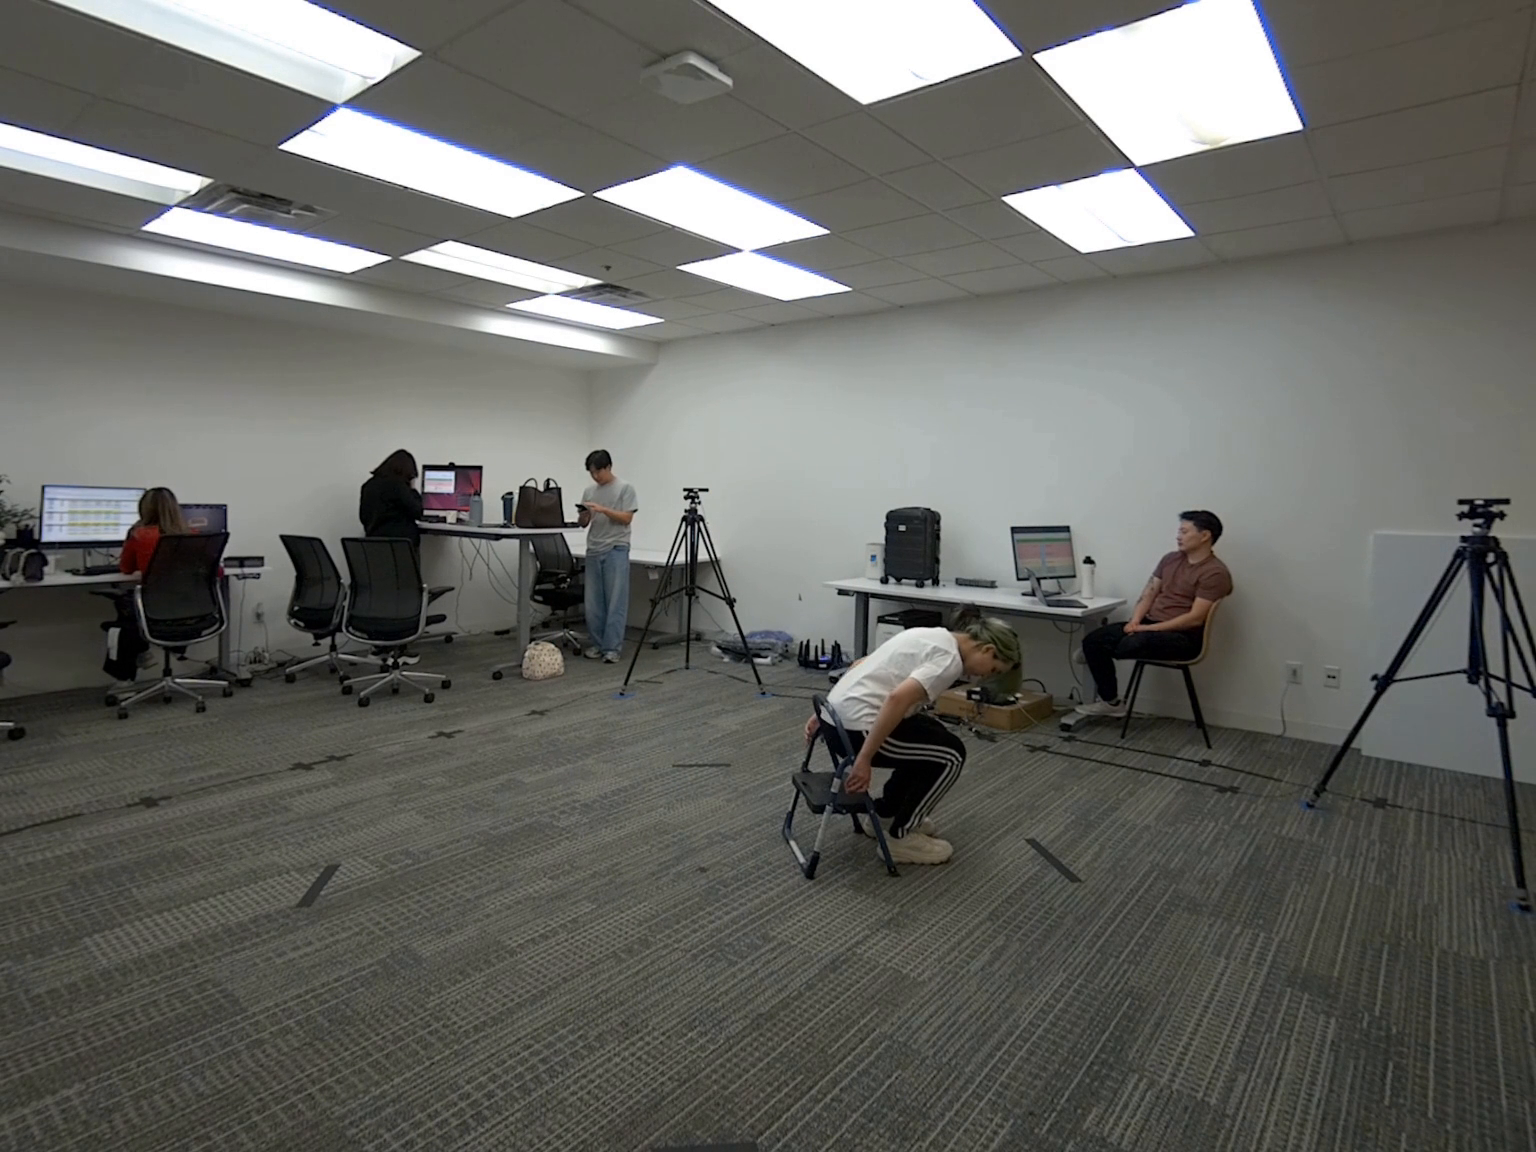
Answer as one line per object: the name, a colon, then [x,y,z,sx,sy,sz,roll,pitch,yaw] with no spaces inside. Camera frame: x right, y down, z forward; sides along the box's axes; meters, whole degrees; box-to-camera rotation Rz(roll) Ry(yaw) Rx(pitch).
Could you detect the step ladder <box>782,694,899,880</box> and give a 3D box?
step ladder: [0.260,0.767,3.258,0.345,0.605,0.437,1,3,-12]
